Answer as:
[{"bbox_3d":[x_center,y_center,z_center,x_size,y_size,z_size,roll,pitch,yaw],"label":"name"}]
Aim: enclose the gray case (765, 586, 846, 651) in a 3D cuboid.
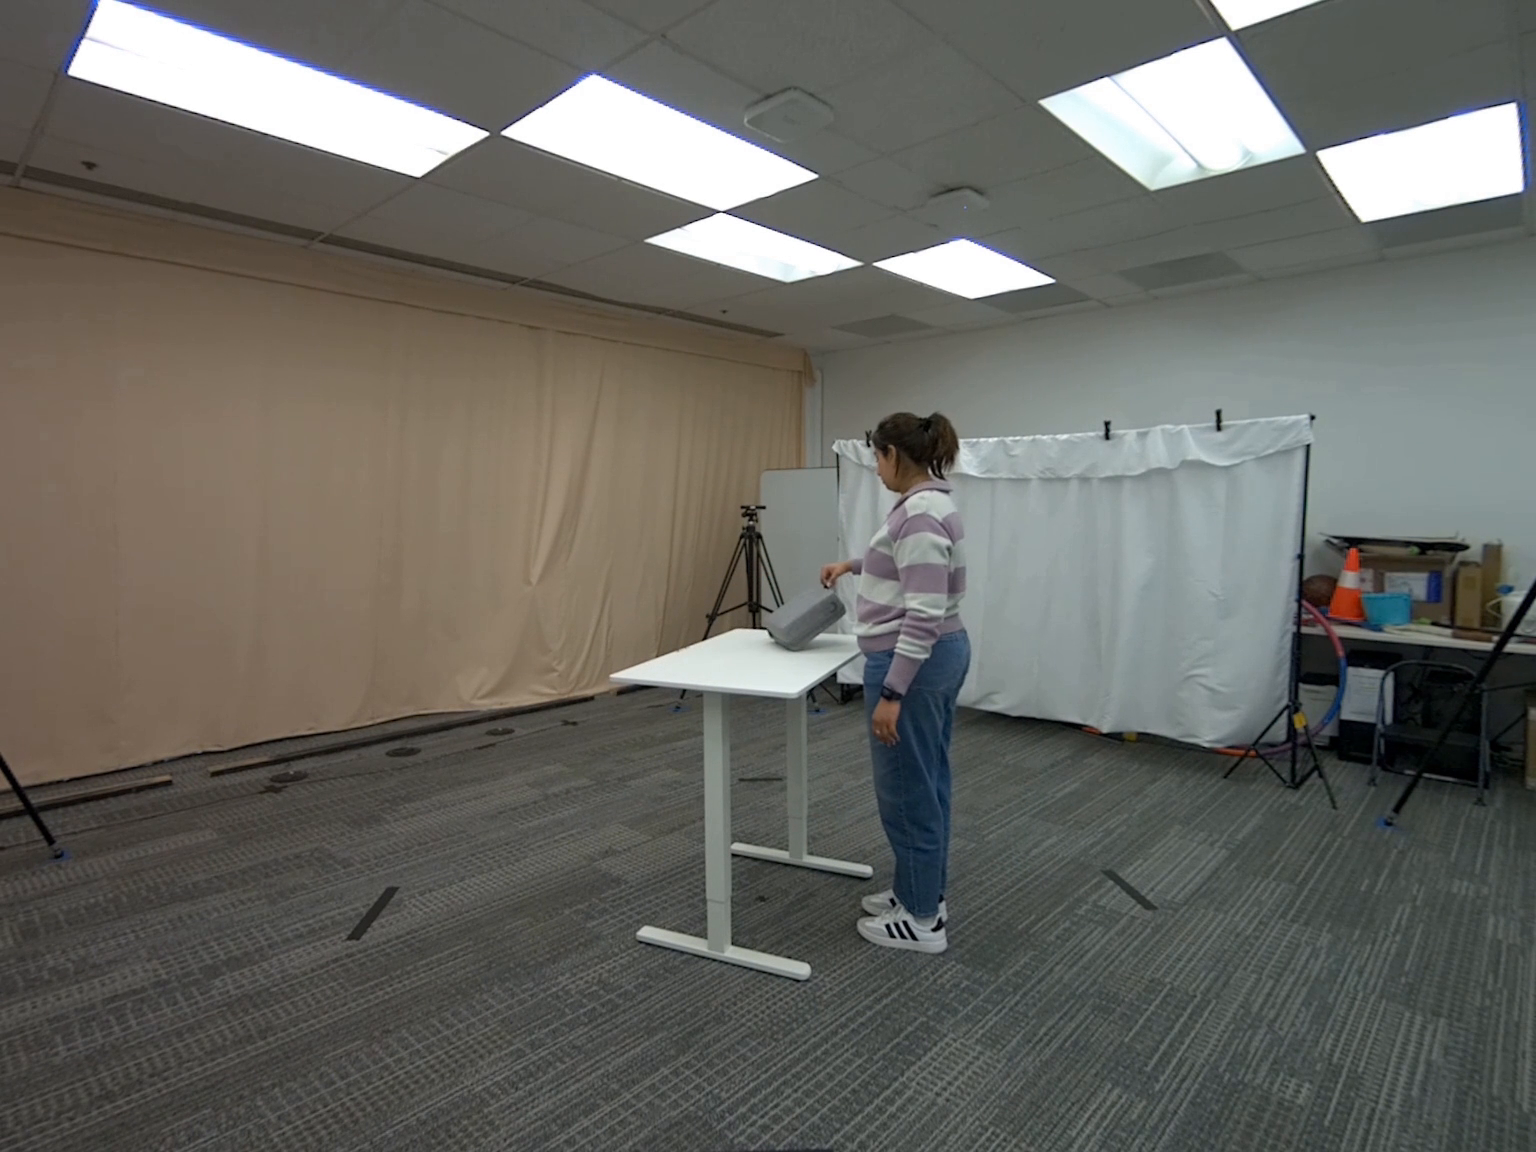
[{"bbox_3d":[0.133,0.144,3.030,0.259,0.103,0.262,-37,14,-10],"label":"gray case"}]
